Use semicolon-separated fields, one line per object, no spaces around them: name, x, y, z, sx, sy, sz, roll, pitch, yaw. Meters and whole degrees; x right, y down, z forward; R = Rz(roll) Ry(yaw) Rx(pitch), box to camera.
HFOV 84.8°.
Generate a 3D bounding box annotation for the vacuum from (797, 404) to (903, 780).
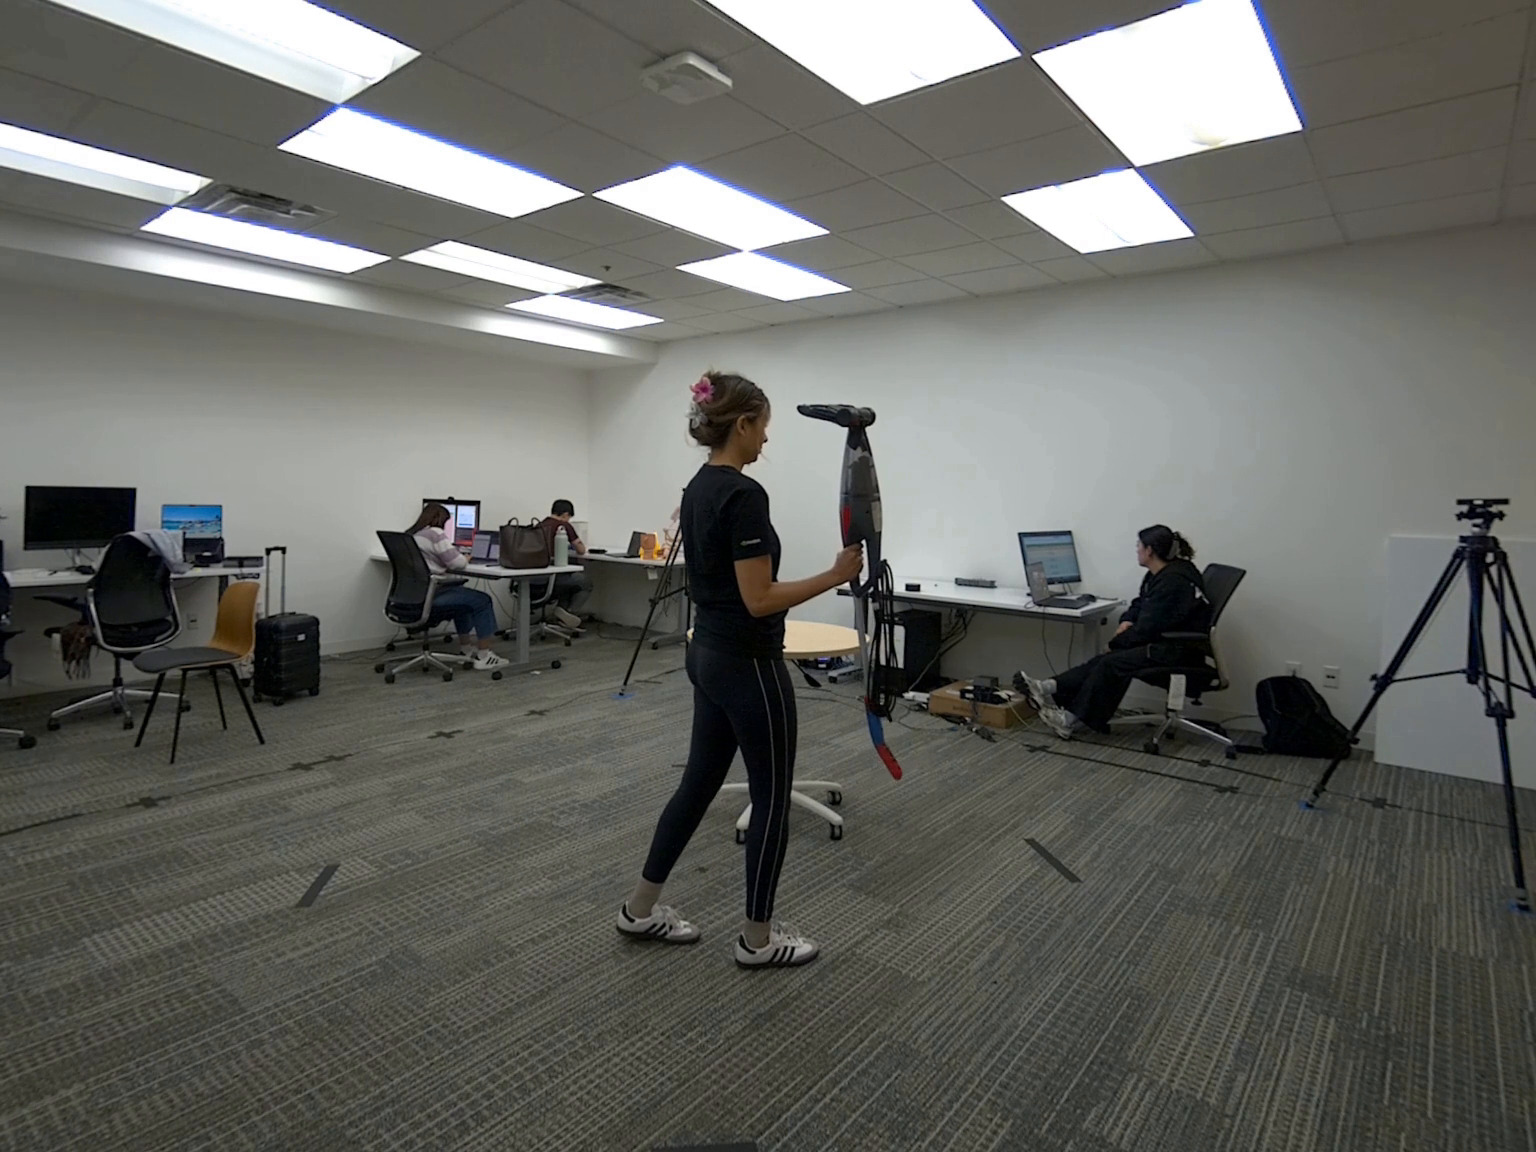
vacuum;0.280;0.054;2.372;0.148;1.049;0.246;-8;1;39
